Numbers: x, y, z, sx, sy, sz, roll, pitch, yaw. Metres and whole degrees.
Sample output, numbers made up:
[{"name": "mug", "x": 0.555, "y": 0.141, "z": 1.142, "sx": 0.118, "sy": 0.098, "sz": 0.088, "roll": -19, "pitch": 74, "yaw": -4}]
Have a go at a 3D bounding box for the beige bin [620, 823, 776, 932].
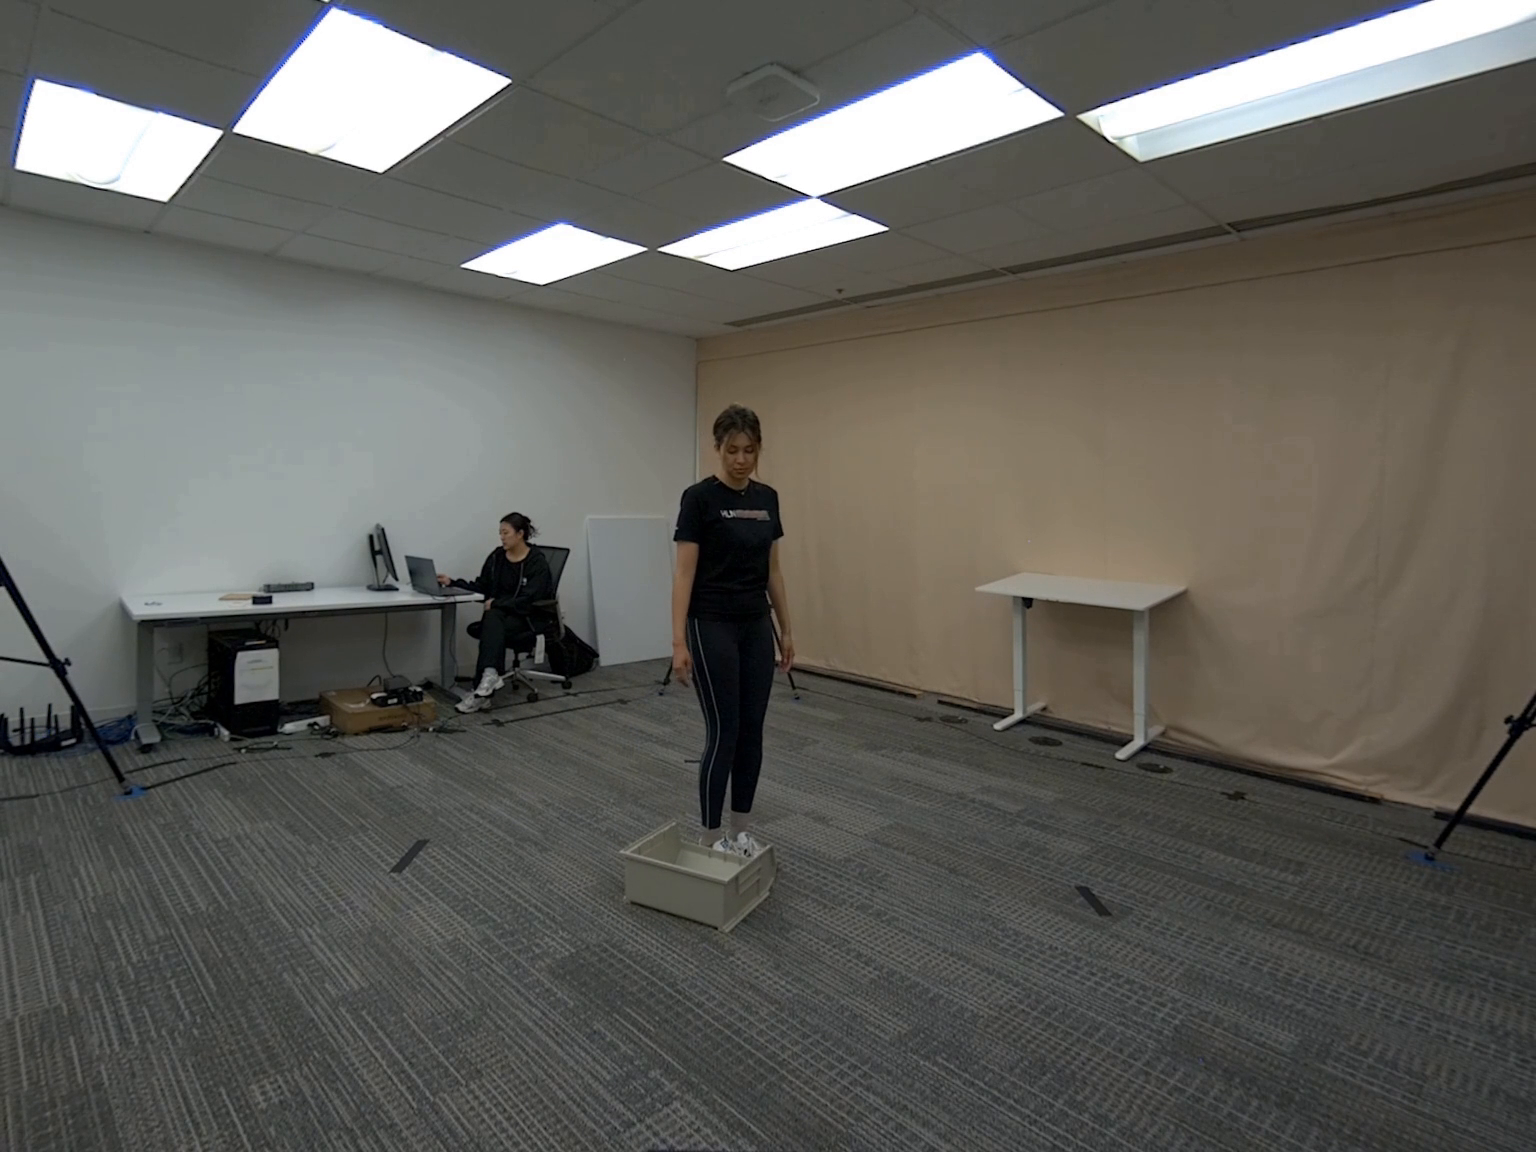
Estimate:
[{"name": "beige bin", "x": -0.240, "y": 1.025, "z": 2.933, "sx": 0.431, "sy": 0.188, "sz": 0.371, "roll": 4, "pitch": 7, "yaw": 27}]
